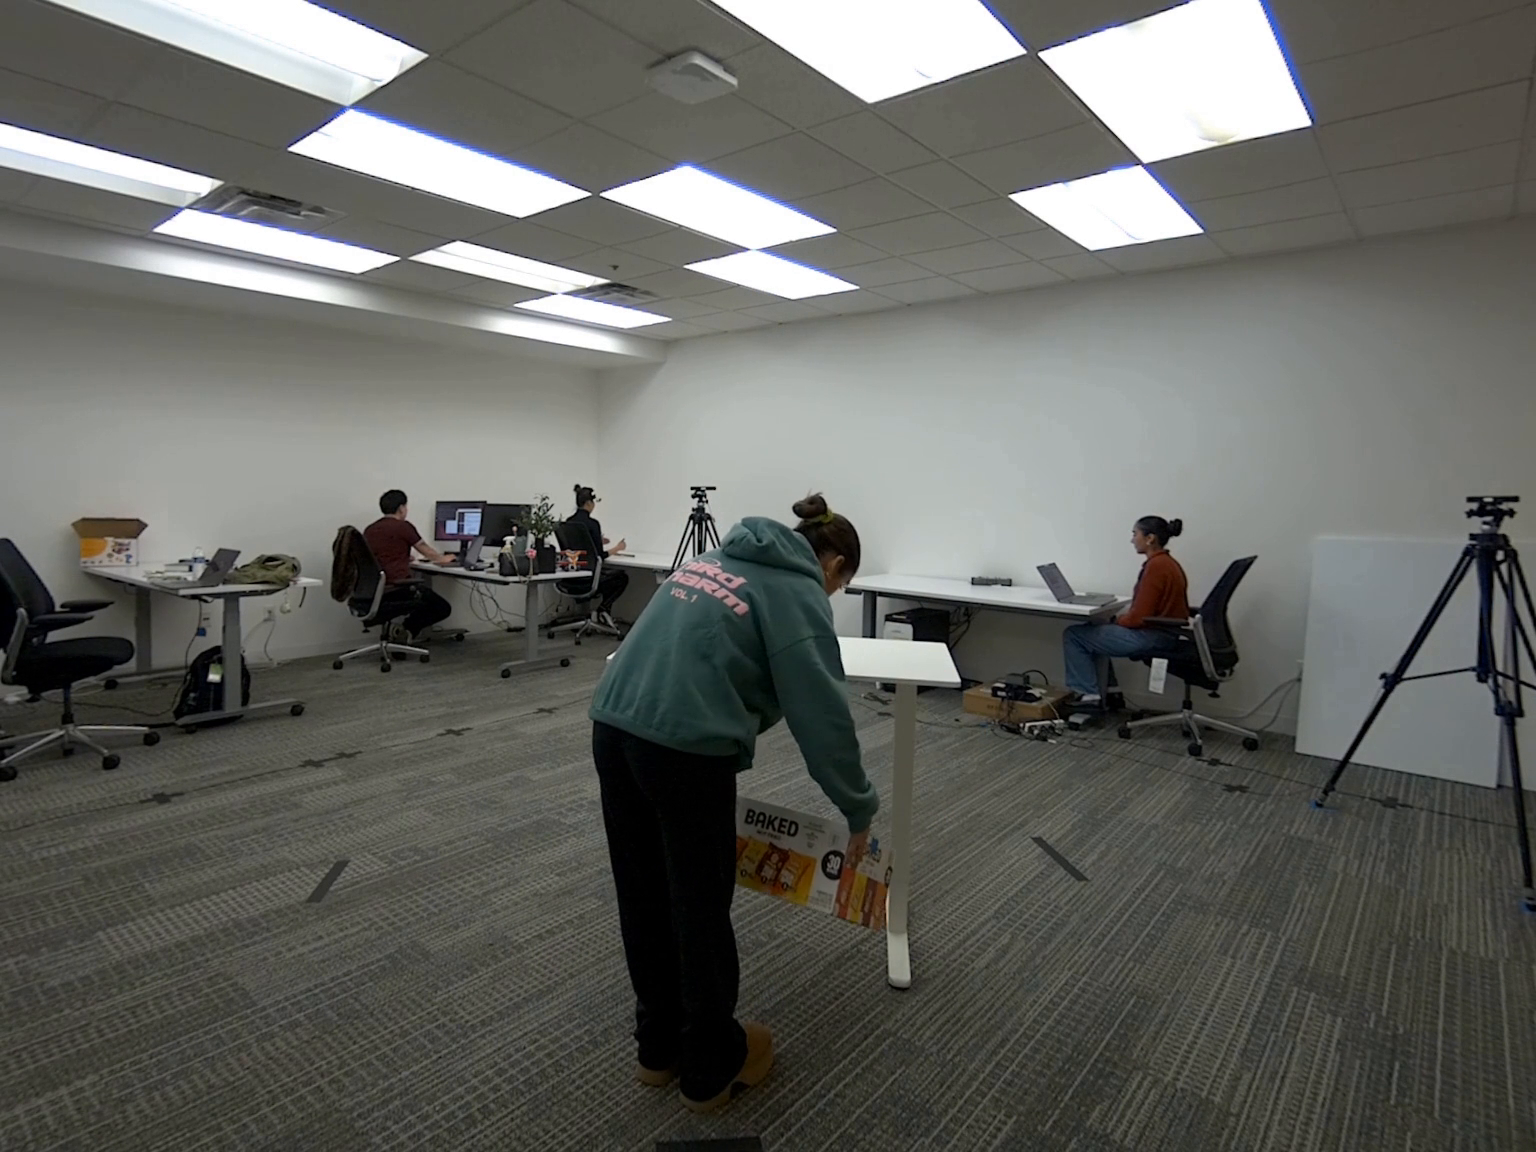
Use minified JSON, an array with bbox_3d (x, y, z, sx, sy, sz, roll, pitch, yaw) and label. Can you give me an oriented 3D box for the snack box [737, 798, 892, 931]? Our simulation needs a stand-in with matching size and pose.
[{"bbox_3d":[0.059,0.718,2.174,0.417,0.208,0.326,5,-24,31],"label":"snack box"}]
